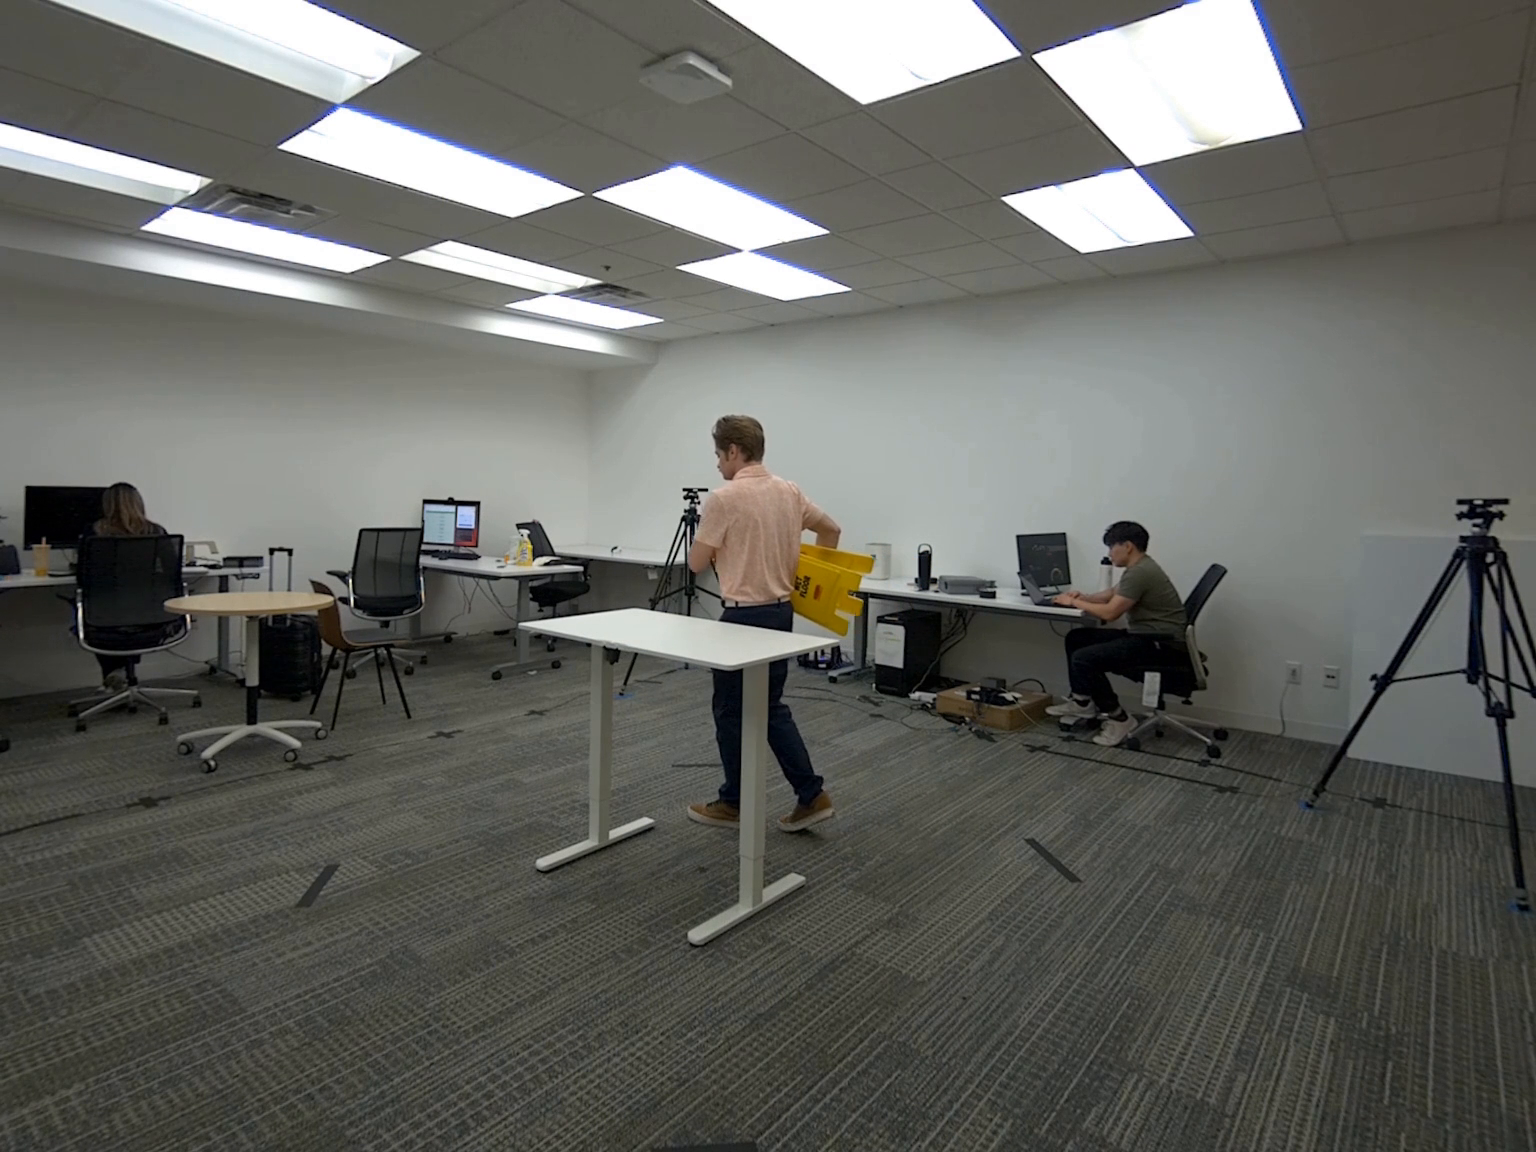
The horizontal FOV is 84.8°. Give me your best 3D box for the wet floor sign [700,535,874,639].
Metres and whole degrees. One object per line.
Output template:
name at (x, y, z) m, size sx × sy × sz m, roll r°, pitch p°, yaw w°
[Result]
wet floor sign at (0.080, -0.013, 3.639) m, size 0.661 × 0.278 × 0.287 m, roll 18°, pitch 21°, yaw 17°
